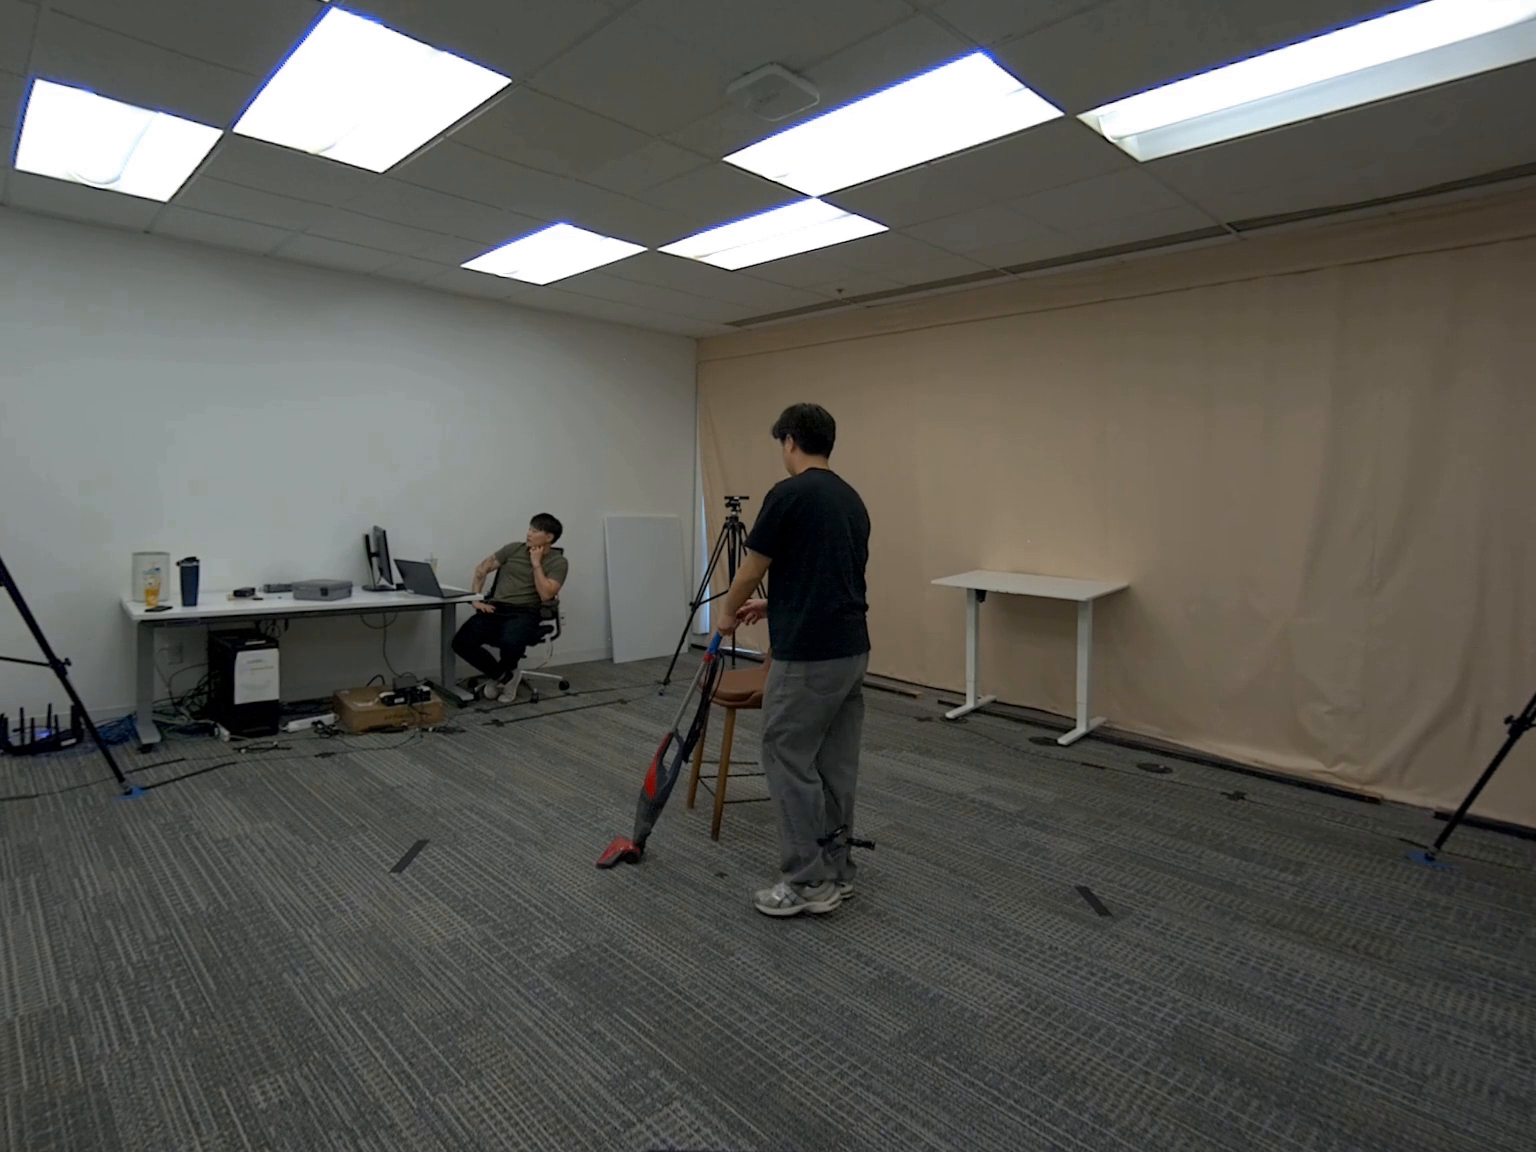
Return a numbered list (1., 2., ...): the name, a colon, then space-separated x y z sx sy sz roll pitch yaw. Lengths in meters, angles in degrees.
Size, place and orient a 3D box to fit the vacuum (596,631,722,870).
1. vacuum: -0.336 0.614 3.192 0.145 1.047 0.251 27 6 4
